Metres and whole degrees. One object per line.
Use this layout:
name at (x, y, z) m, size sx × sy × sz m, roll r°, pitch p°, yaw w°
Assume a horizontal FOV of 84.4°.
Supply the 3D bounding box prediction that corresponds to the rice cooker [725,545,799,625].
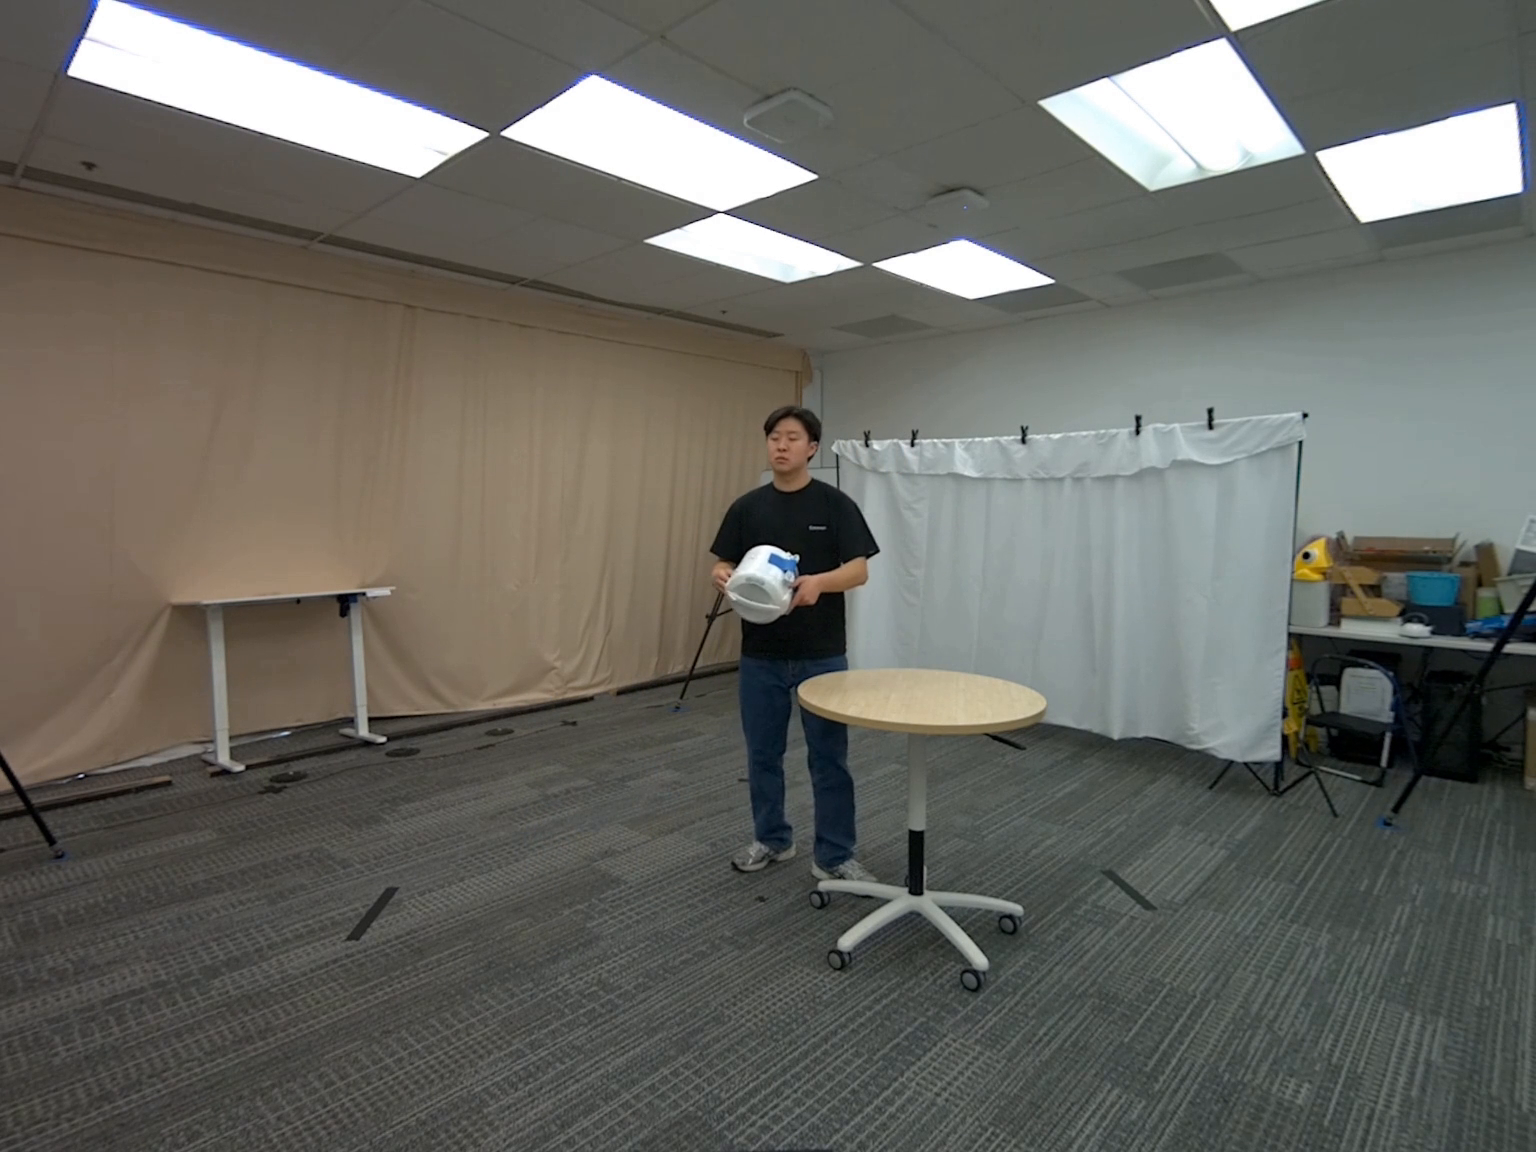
rice cooker at (-0.018, 0.037, 2.837) m, size 0.224 × 0.214 × 0.232 m, roll 18°, pitch 37°, yaw 13°
